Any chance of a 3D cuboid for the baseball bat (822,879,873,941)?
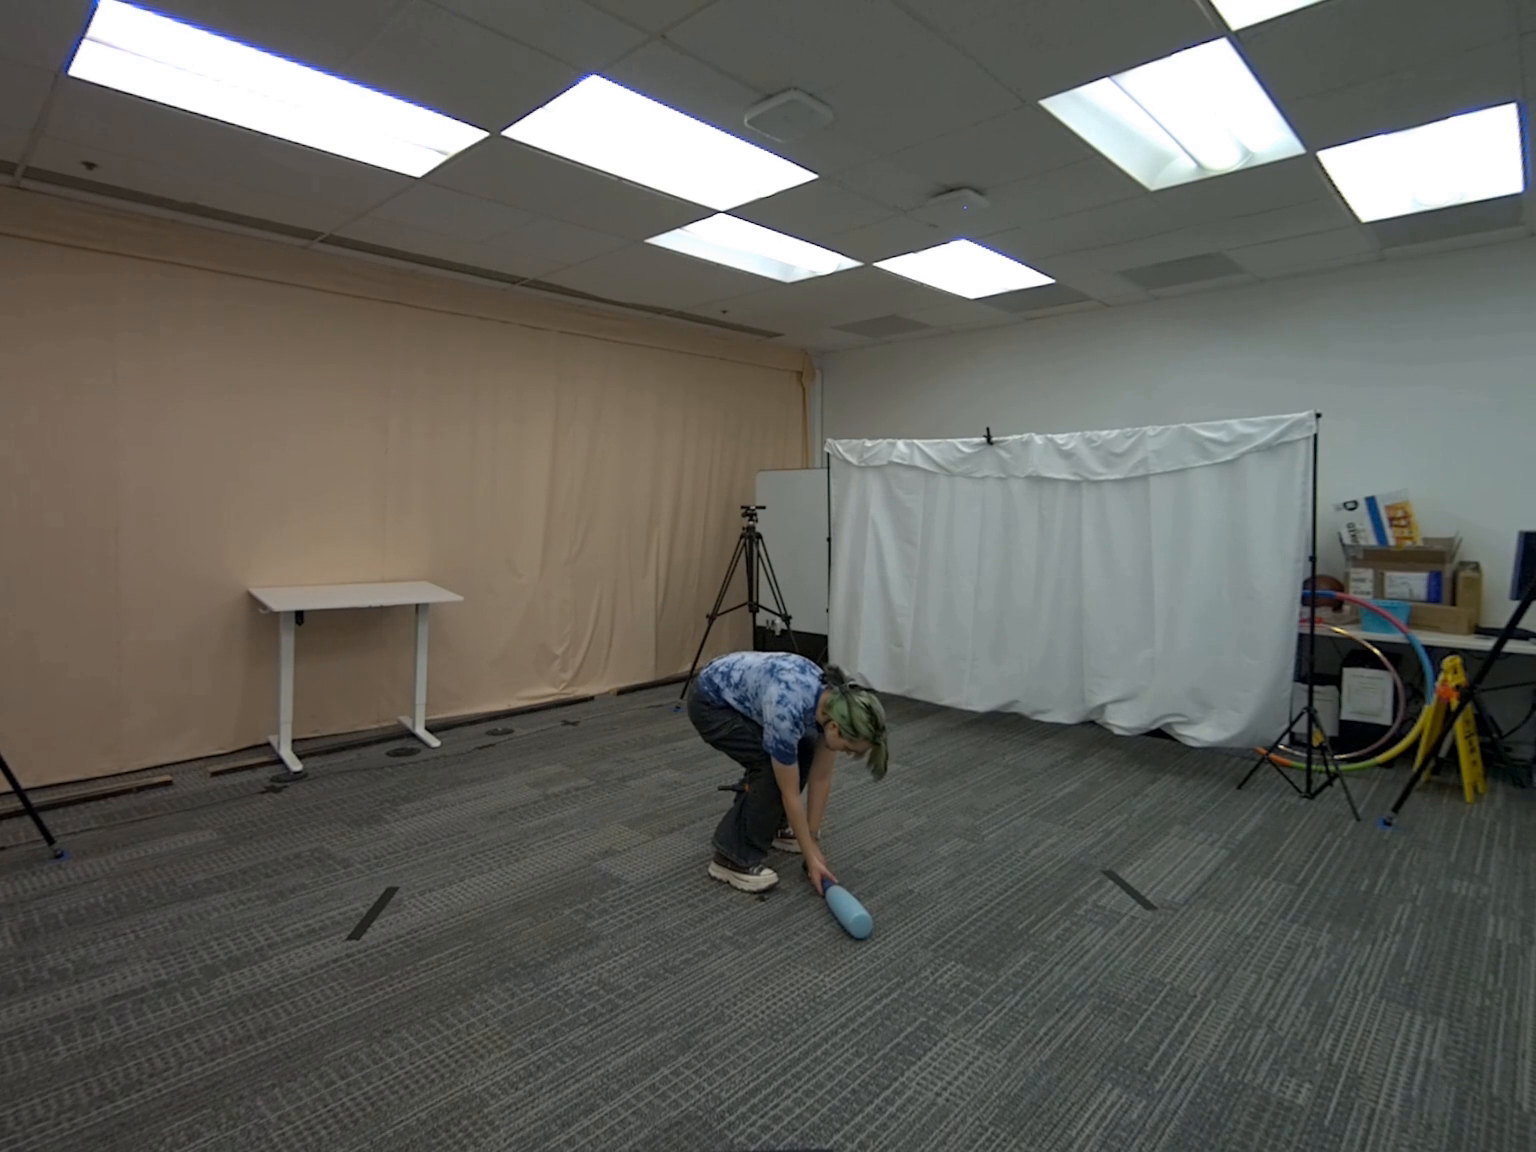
[{"bbox_3d":[0.231,1.105,2.949,0.088,0.089,0.550,-1,2,-14],"label":"baseball bat"}]
